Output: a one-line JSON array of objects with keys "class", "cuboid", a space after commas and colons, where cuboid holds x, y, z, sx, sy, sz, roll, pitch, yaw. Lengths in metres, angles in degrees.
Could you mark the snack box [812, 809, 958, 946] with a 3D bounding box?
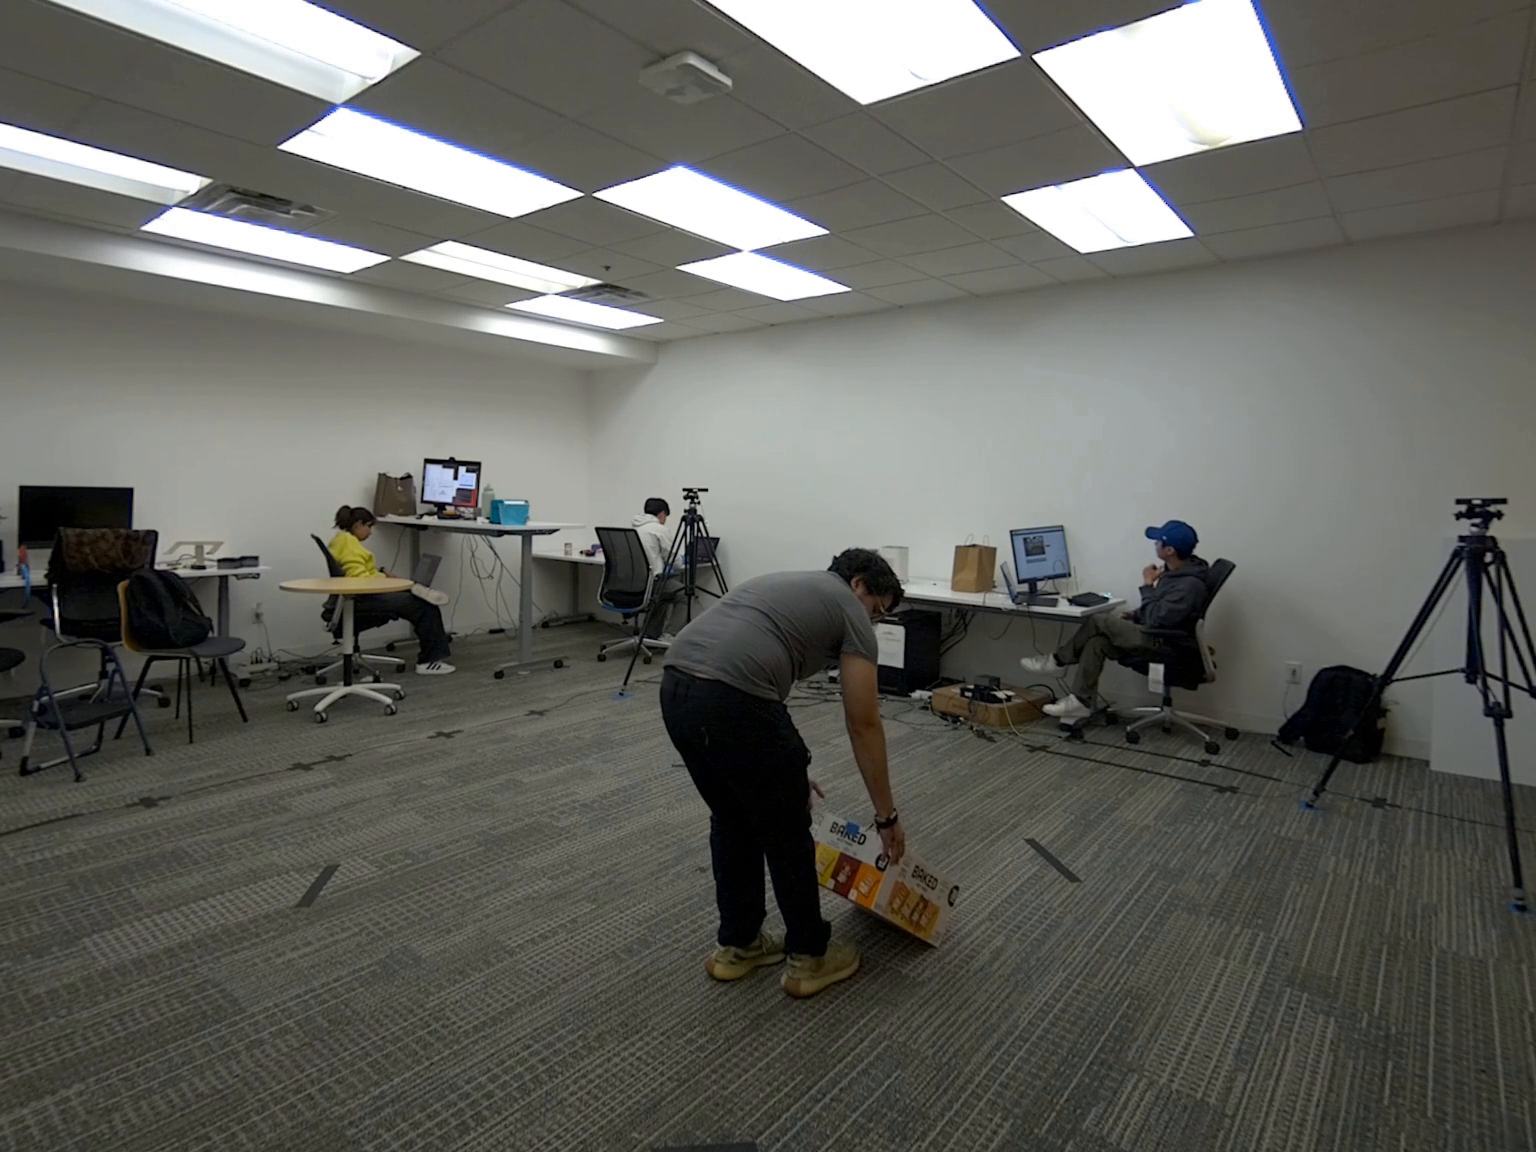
[{"class": "snack box", "cuboid": [0.323, 0.934, 2.652, 0.352, 0.207, 0.389, 7, -27, 48]}]
